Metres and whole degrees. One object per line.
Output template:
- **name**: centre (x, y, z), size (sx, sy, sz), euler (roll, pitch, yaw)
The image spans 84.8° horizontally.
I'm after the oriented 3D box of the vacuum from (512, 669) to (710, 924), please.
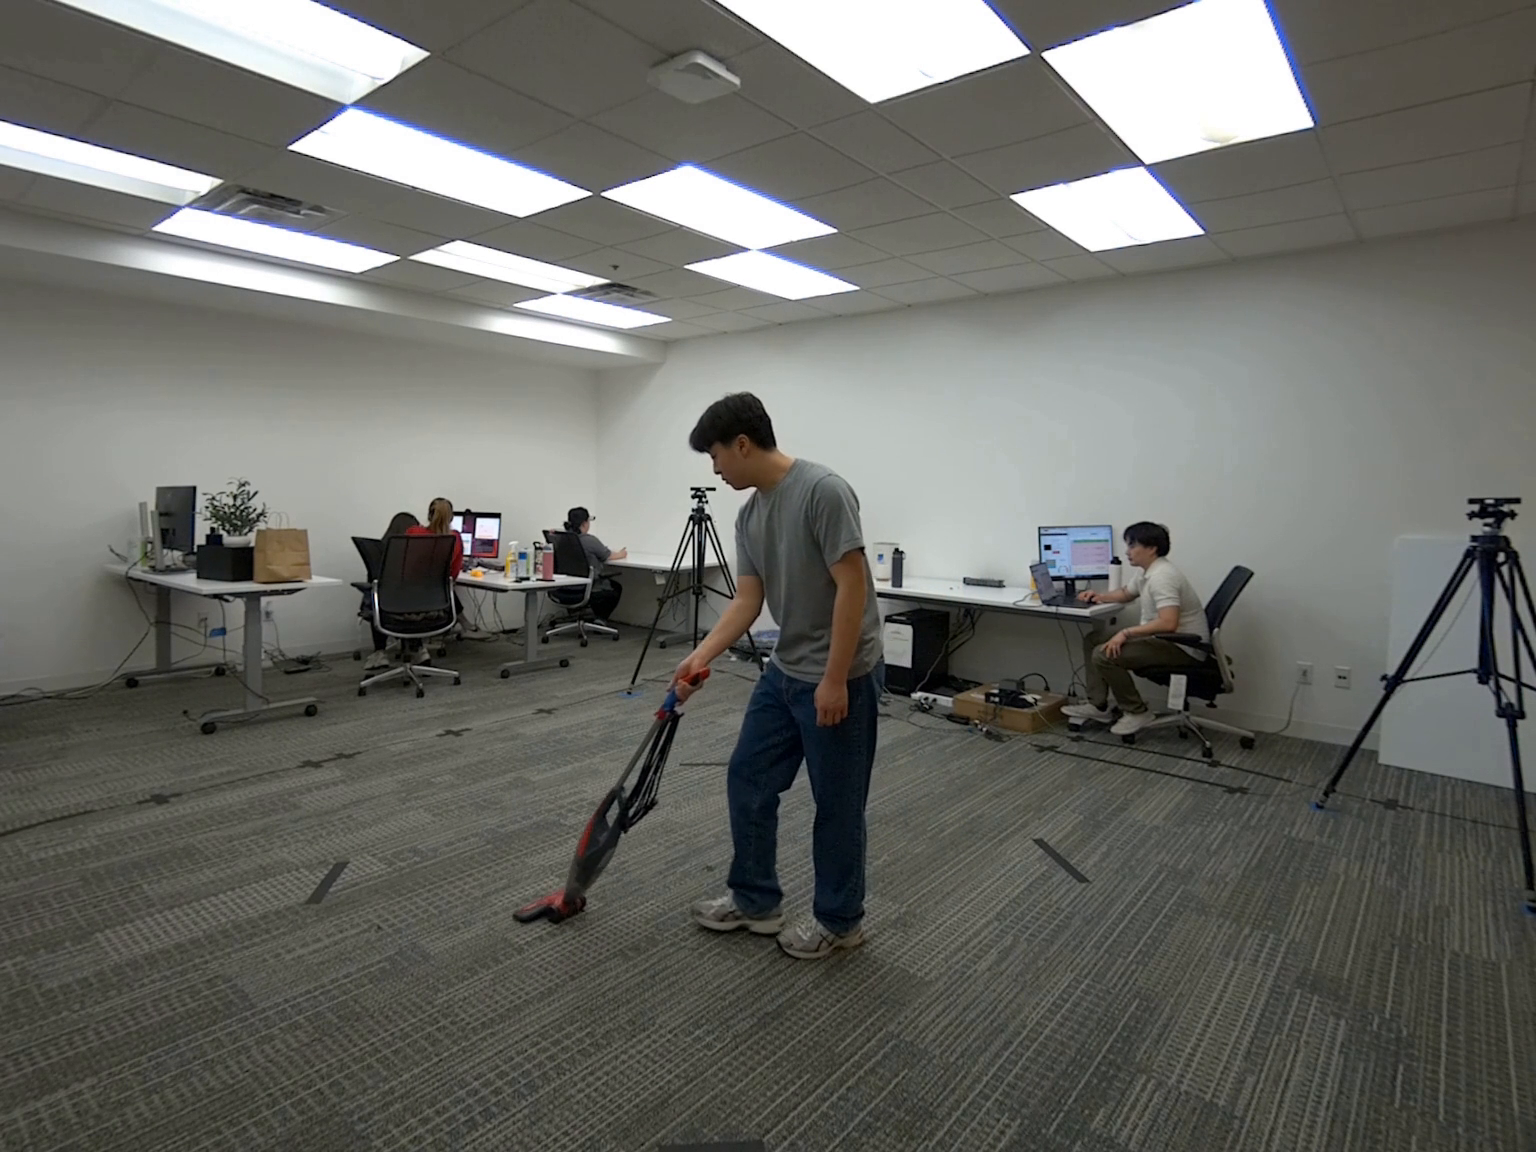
- **vacuum**: centre (-0.462, 0.679, 2.590), size (0.148, 1.043, 0.247), euler (39, 23, 20)
